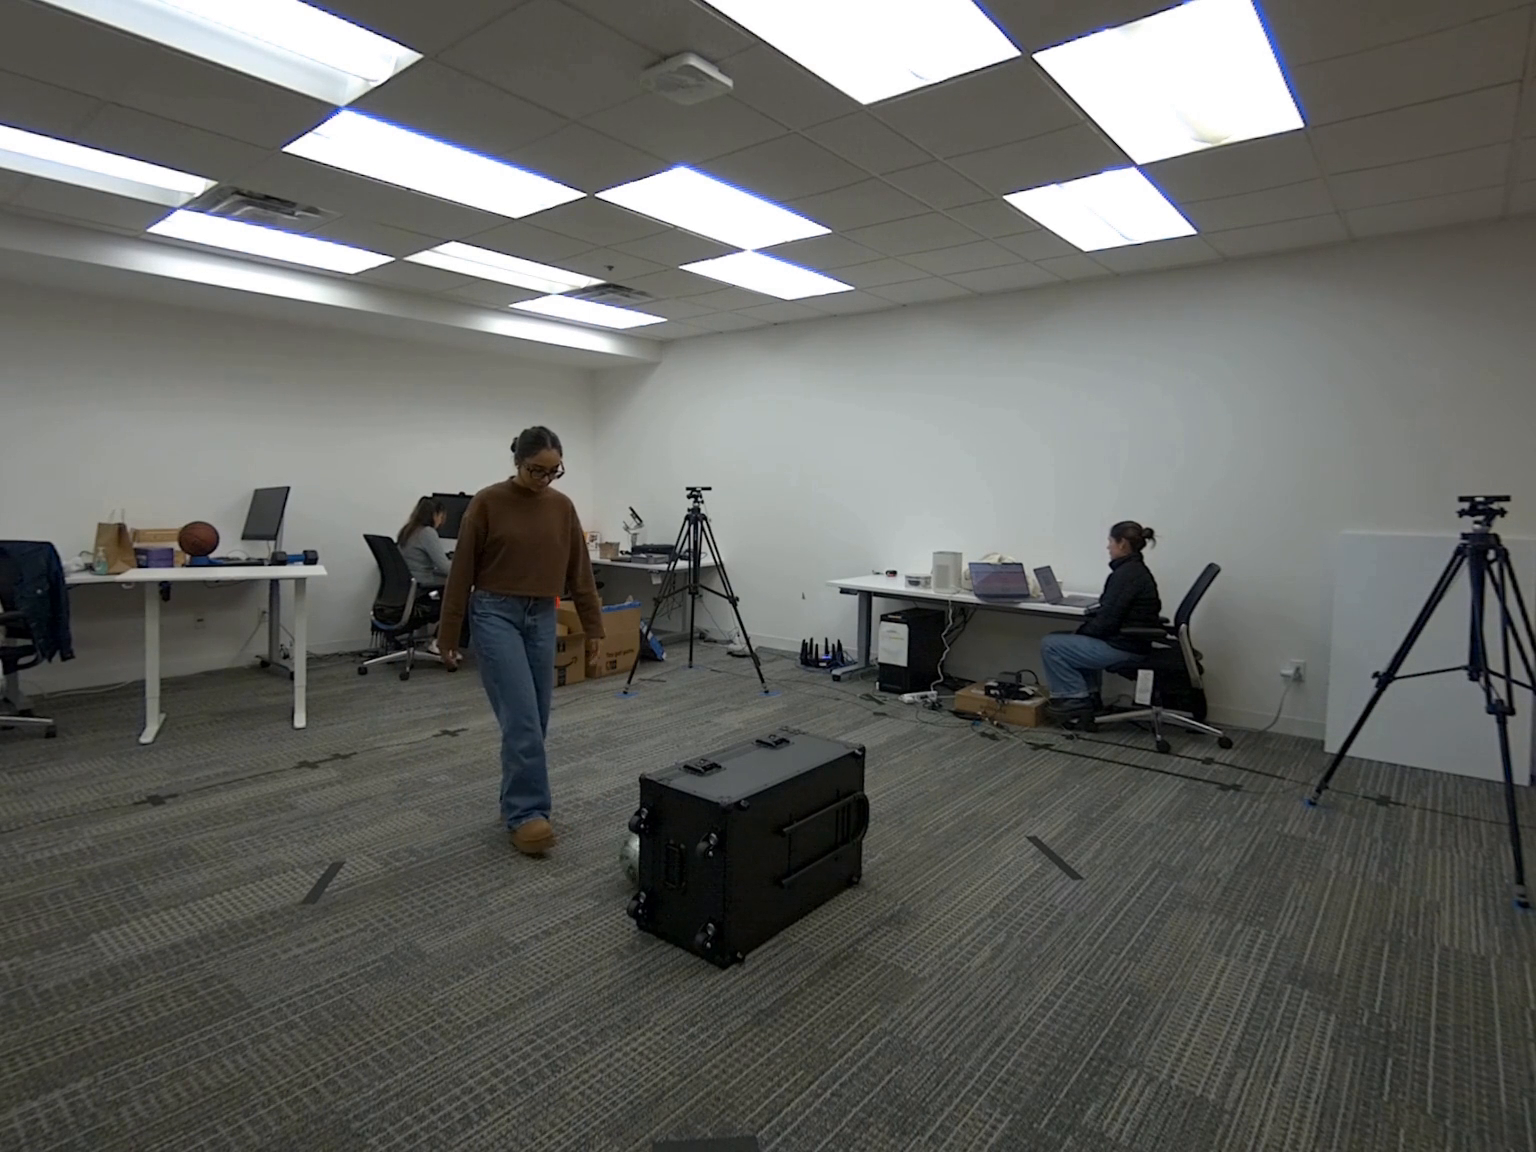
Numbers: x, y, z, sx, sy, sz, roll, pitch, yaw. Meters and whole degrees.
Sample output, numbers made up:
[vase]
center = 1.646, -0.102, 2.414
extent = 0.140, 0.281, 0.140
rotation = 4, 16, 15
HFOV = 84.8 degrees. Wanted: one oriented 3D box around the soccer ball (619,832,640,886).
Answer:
[soccer ball]
center = -0.449, 0.969, 2.968
extent = 0.187, 0.187, 0.188
rotation = 1, 4, -2
